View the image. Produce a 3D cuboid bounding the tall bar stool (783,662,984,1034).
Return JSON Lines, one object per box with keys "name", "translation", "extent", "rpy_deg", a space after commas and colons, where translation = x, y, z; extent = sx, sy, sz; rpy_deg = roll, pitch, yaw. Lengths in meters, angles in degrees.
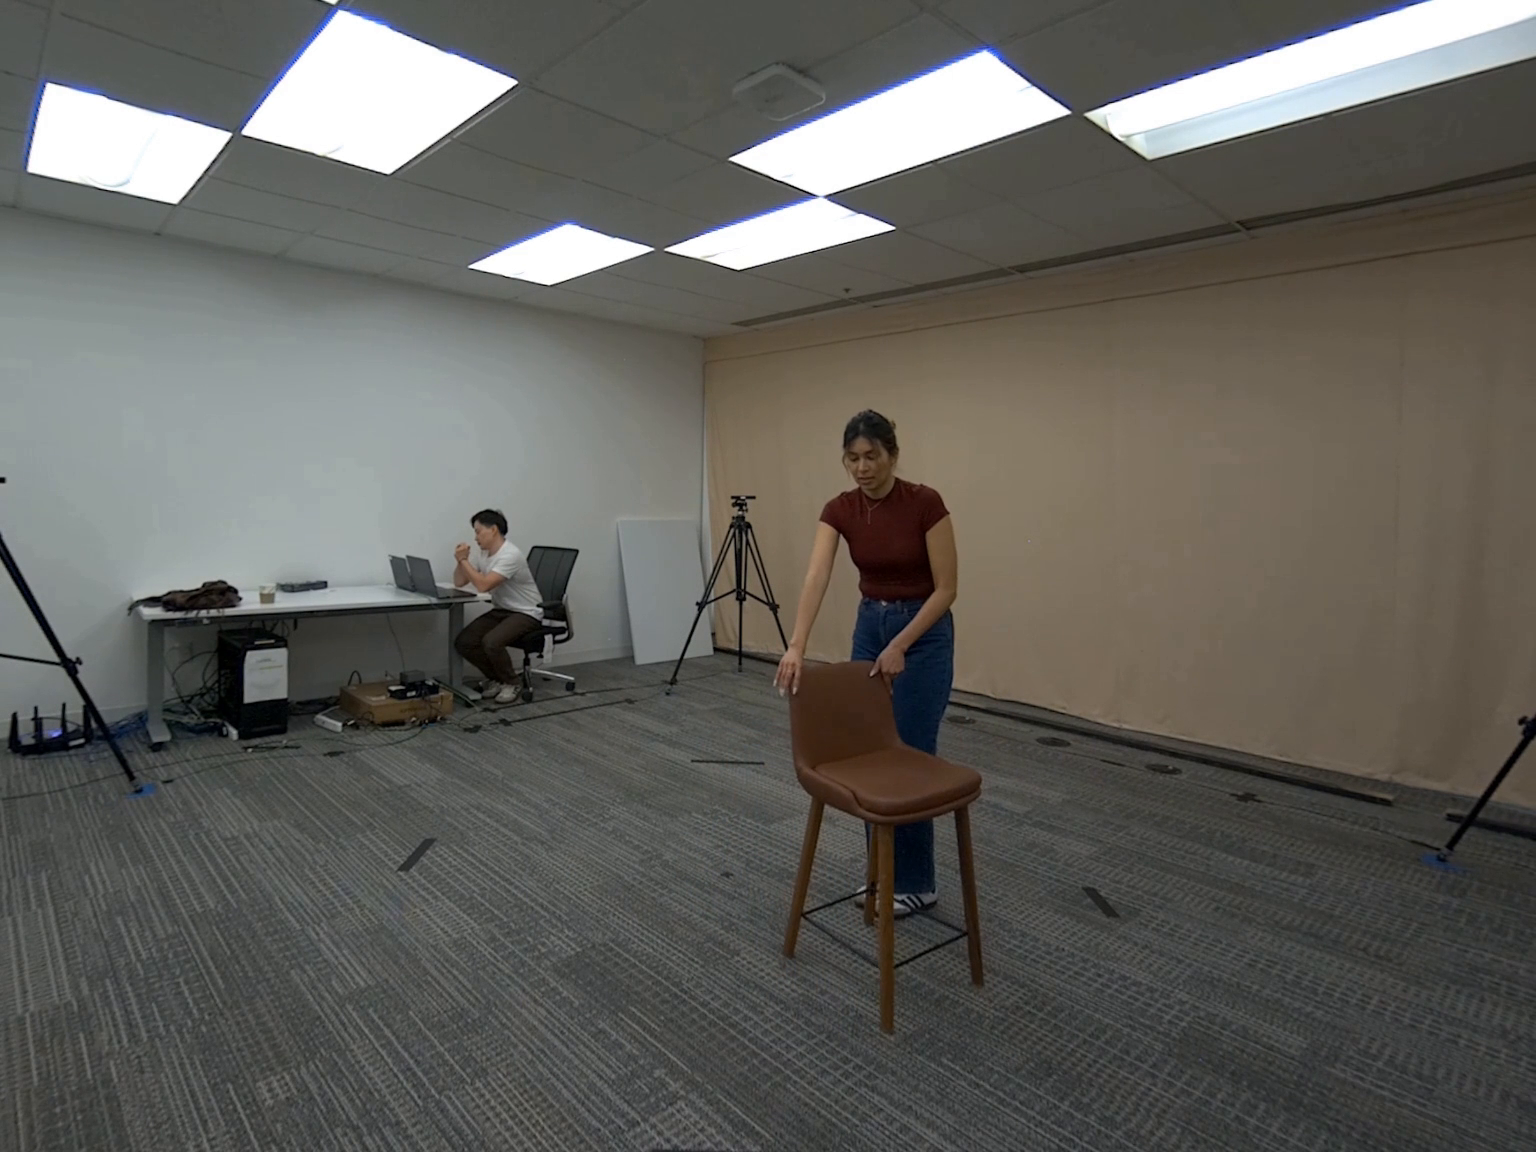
{"name": "tall bar stool", "translation": [0.329, 0.743, 2.459], "extent": [0.446, 0.888, 0.479], "rpy_deg": [0, 3, -36]}
